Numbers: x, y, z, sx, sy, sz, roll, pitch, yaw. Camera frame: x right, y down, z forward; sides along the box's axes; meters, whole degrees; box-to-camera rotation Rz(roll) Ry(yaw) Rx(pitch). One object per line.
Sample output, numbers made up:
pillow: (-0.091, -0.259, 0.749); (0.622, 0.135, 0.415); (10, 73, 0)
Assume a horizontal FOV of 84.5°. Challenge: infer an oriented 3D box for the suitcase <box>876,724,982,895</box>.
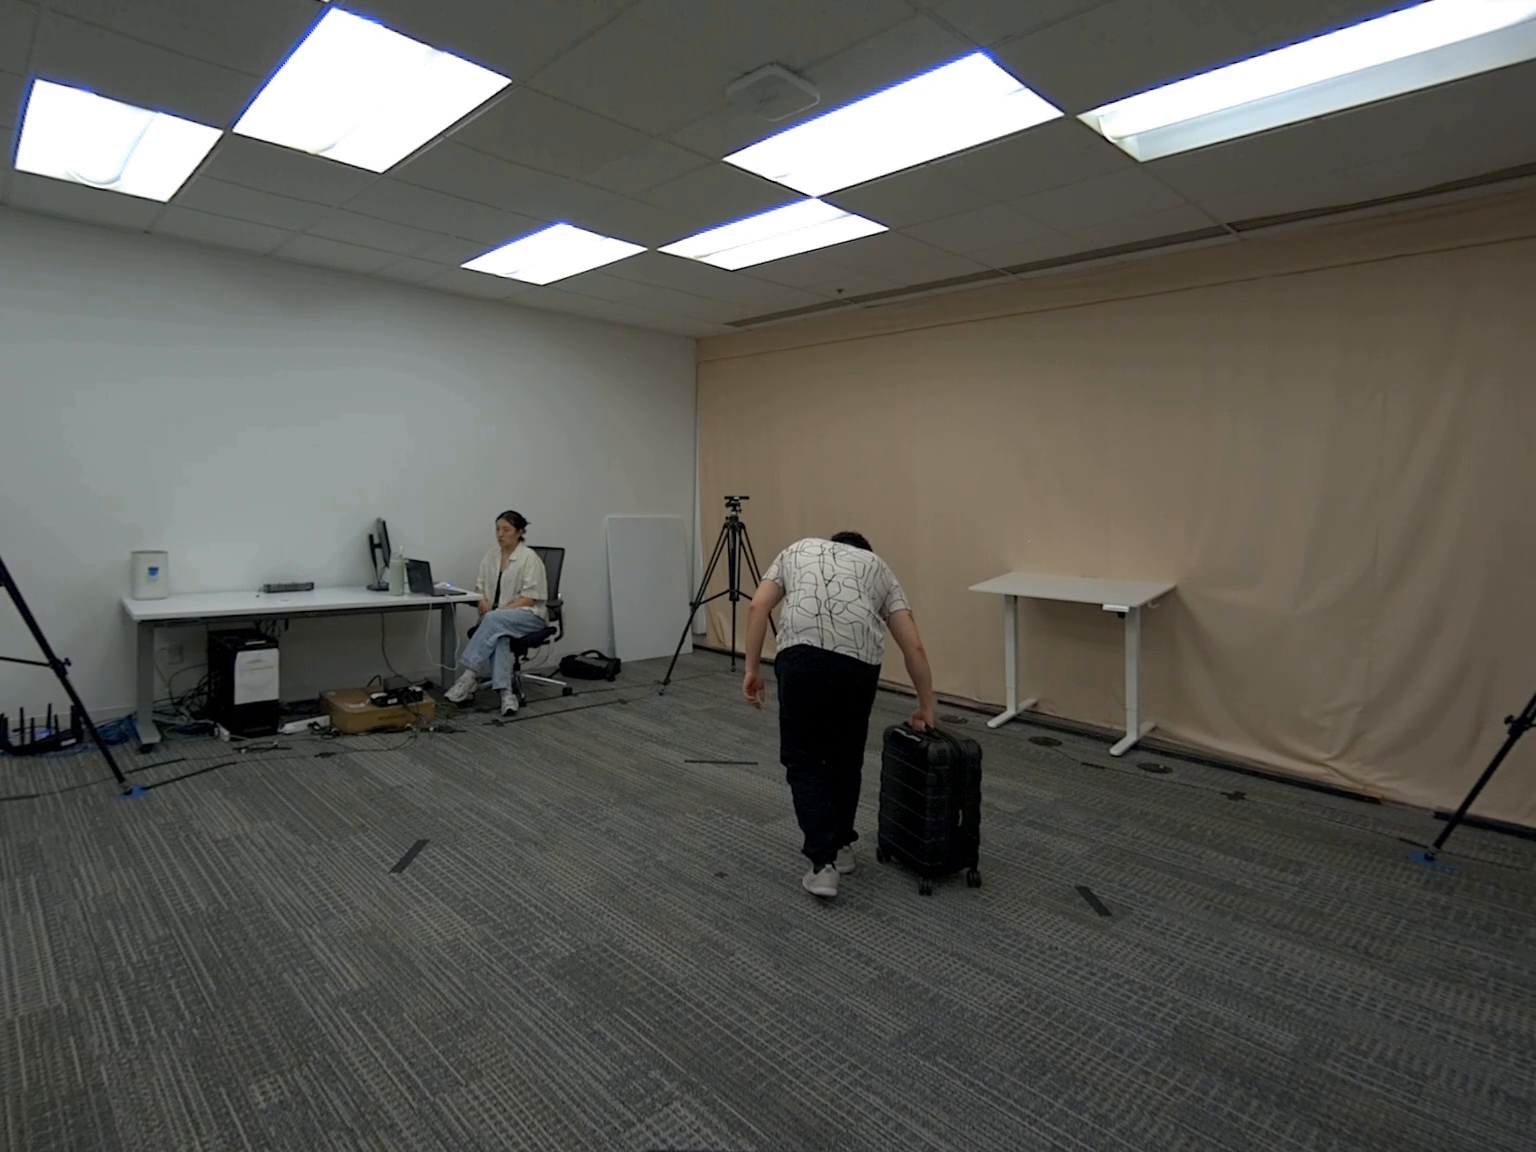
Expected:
suitcase: (0.602, 0.839, 3.182); (0.244, 0.549, 0.382); (1, 2, -23)
